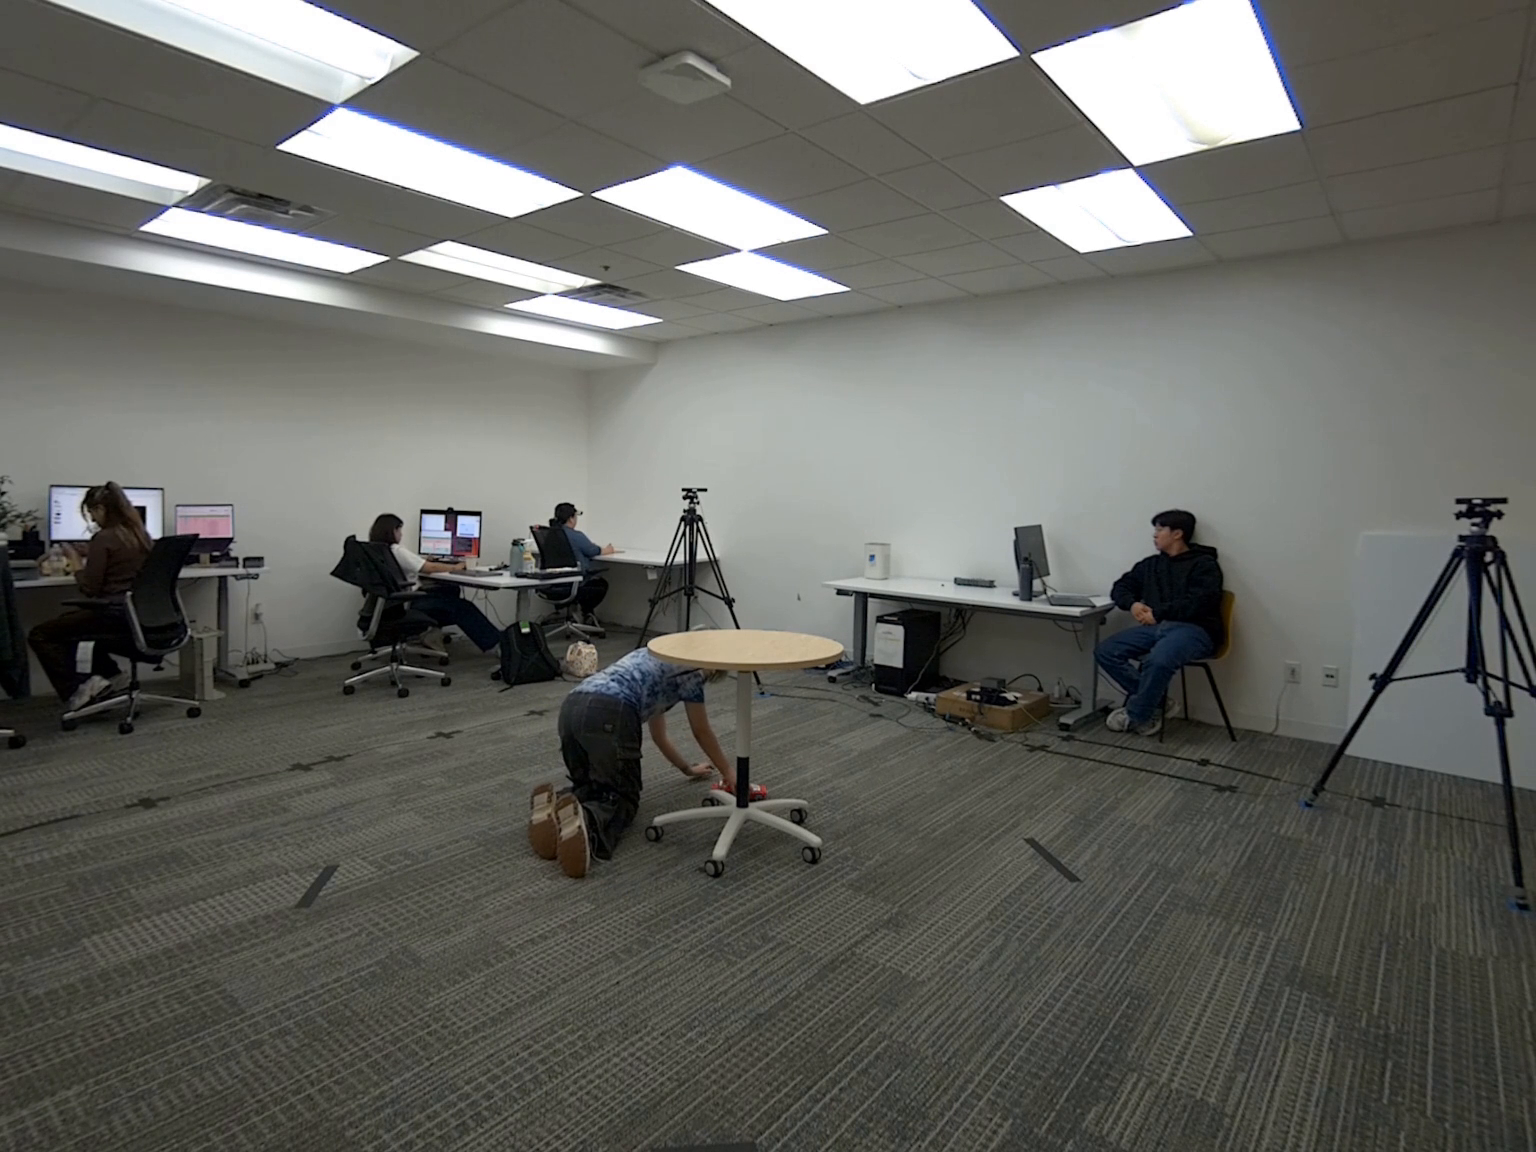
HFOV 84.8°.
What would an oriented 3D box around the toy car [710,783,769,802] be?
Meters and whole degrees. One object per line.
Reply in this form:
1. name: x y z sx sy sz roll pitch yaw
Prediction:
1. toy car: -0.144 0.978 3.855 0.255 0.083 0.130 10 5 1
